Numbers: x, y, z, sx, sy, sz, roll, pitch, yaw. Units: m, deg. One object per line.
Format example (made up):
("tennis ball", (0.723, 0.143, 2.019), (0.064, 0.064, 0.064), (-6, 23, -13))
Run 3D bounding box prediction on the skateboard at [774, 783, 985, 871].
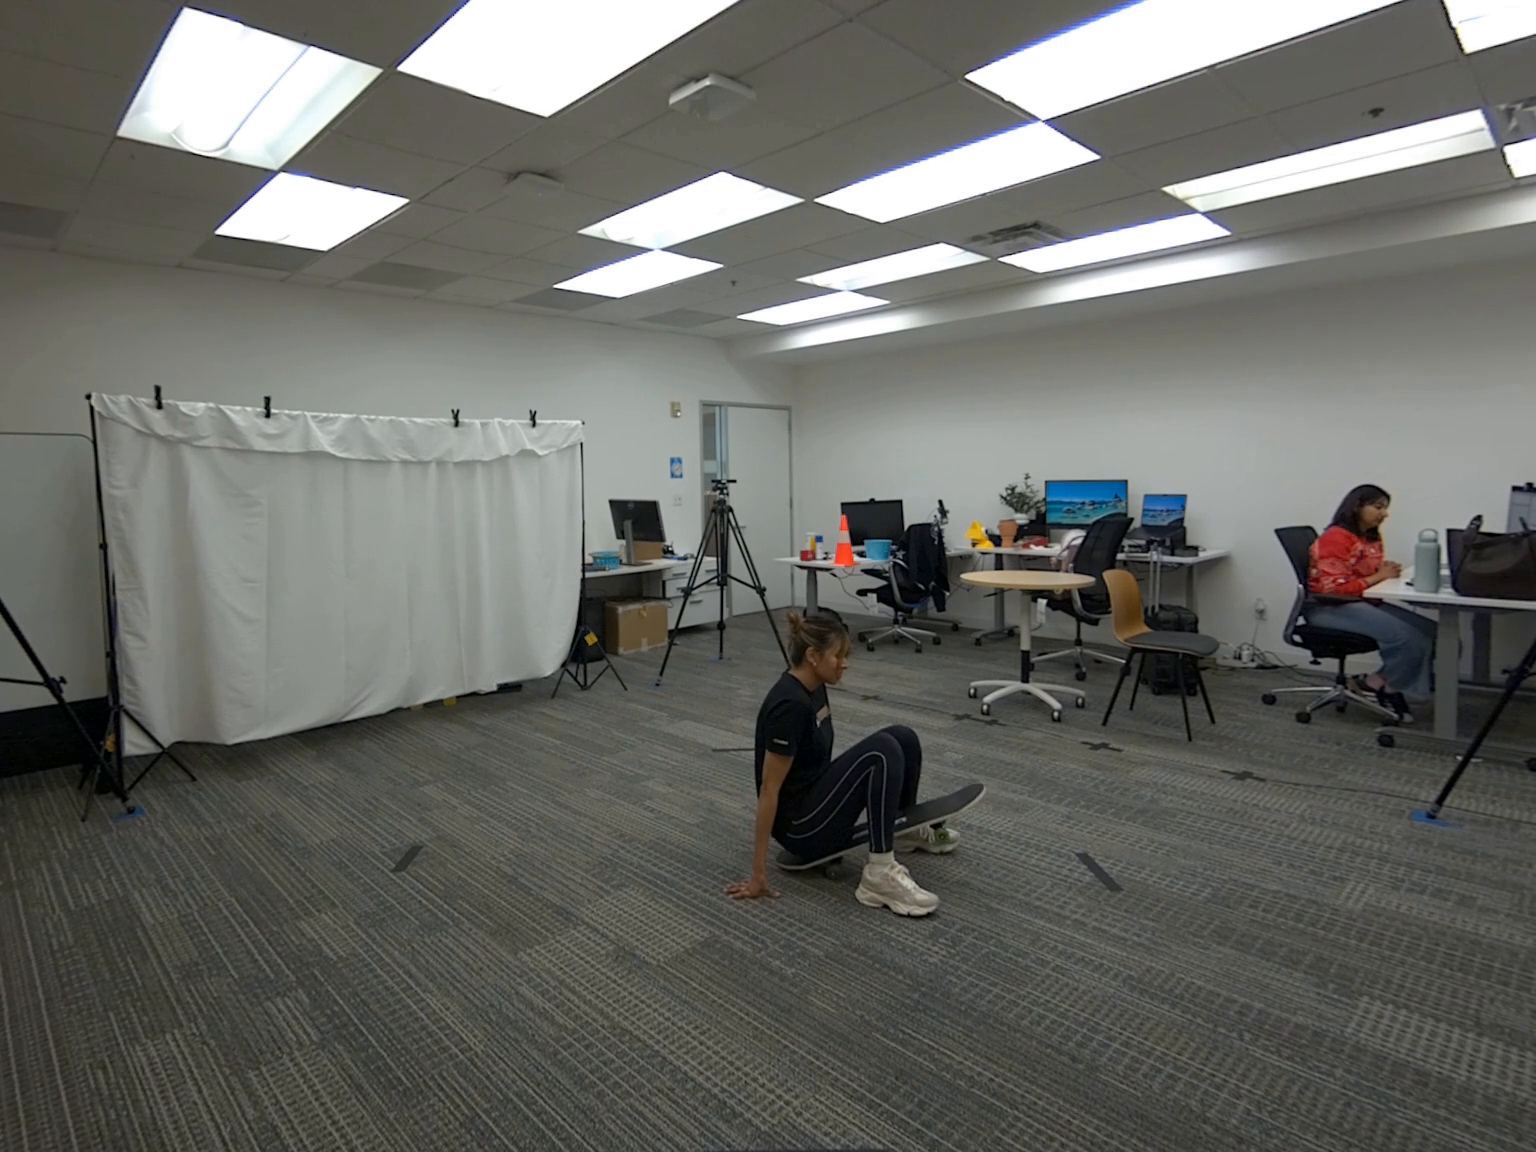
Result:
("skateboard", (0.410, 0.933, 3.008), (0.791, 0.110, 0.192), (-21, 2, 12))
